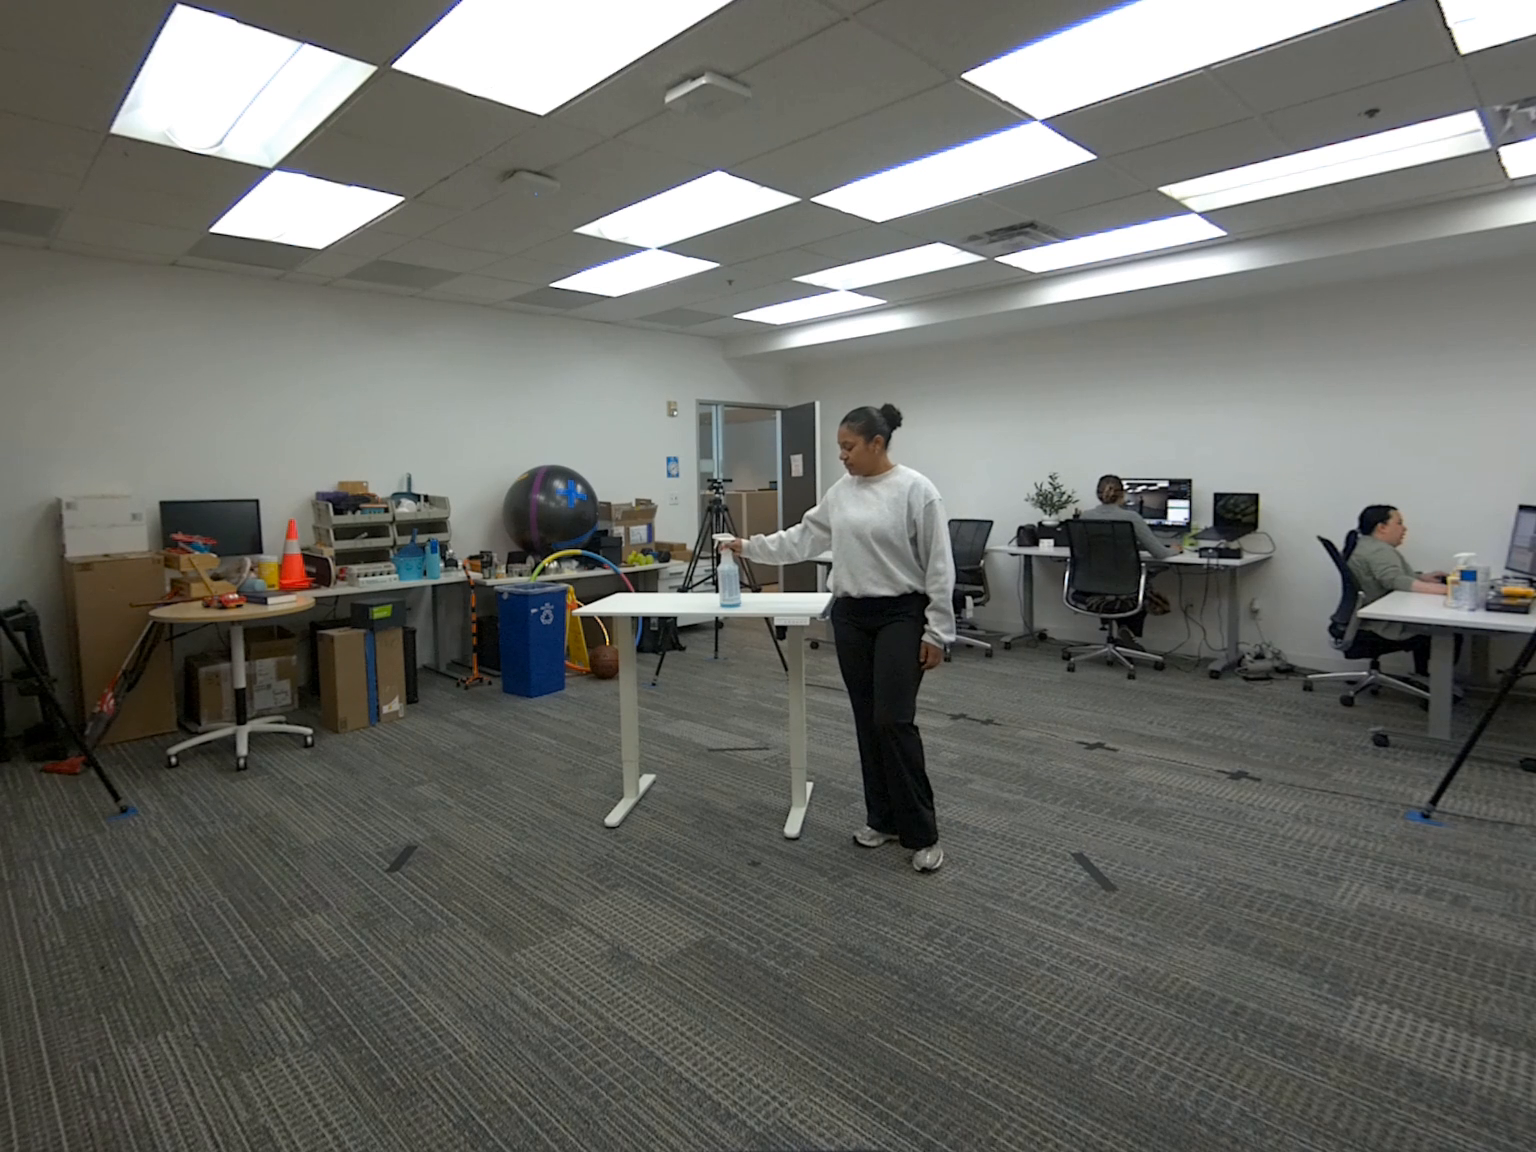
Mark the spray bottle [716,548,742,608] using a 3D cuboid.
[{"bbox_3d":[-0.161,-0.032,3.444,0.091,0.295,0.087,-3,9,11],"label":"spray bottle"}]
